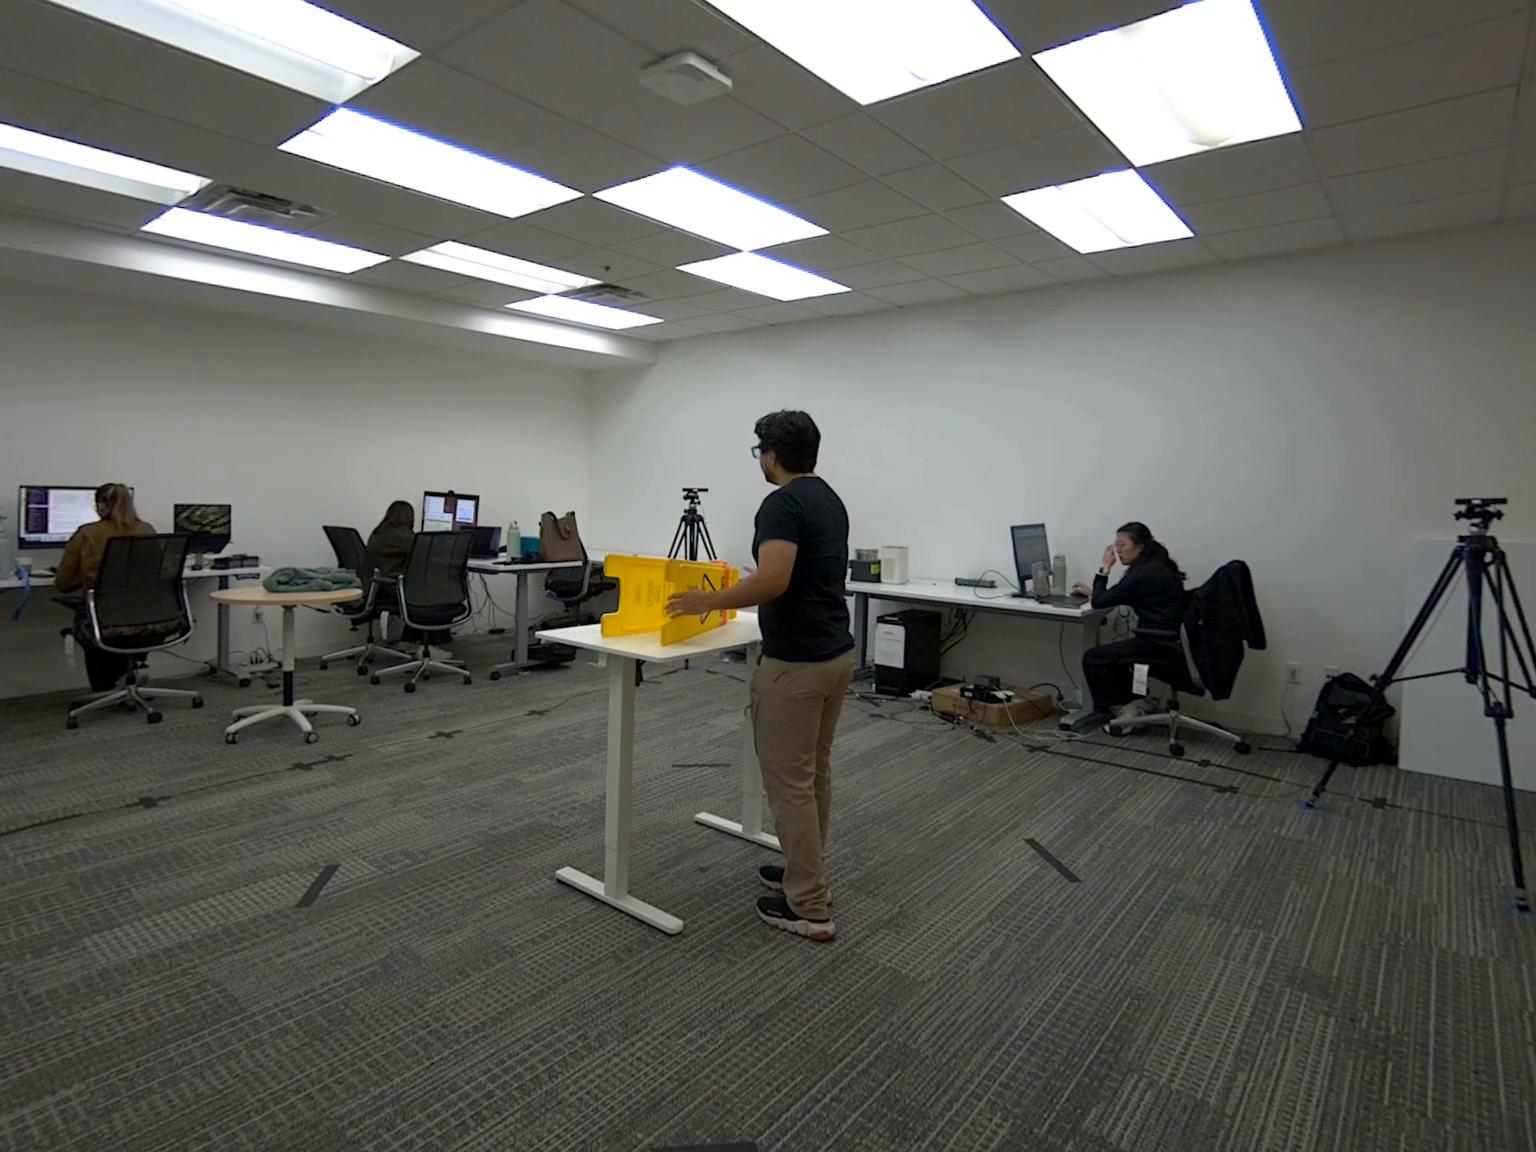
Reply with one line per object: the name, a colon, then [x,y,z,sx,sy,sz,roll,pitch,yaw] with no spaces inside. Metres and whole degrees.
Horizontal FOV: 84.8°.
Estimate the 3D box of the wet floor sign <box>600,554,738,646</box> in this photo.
wet floor sign: [-0.294,0.069,3.036,0.298,0.282,0.628,3,2,29]
